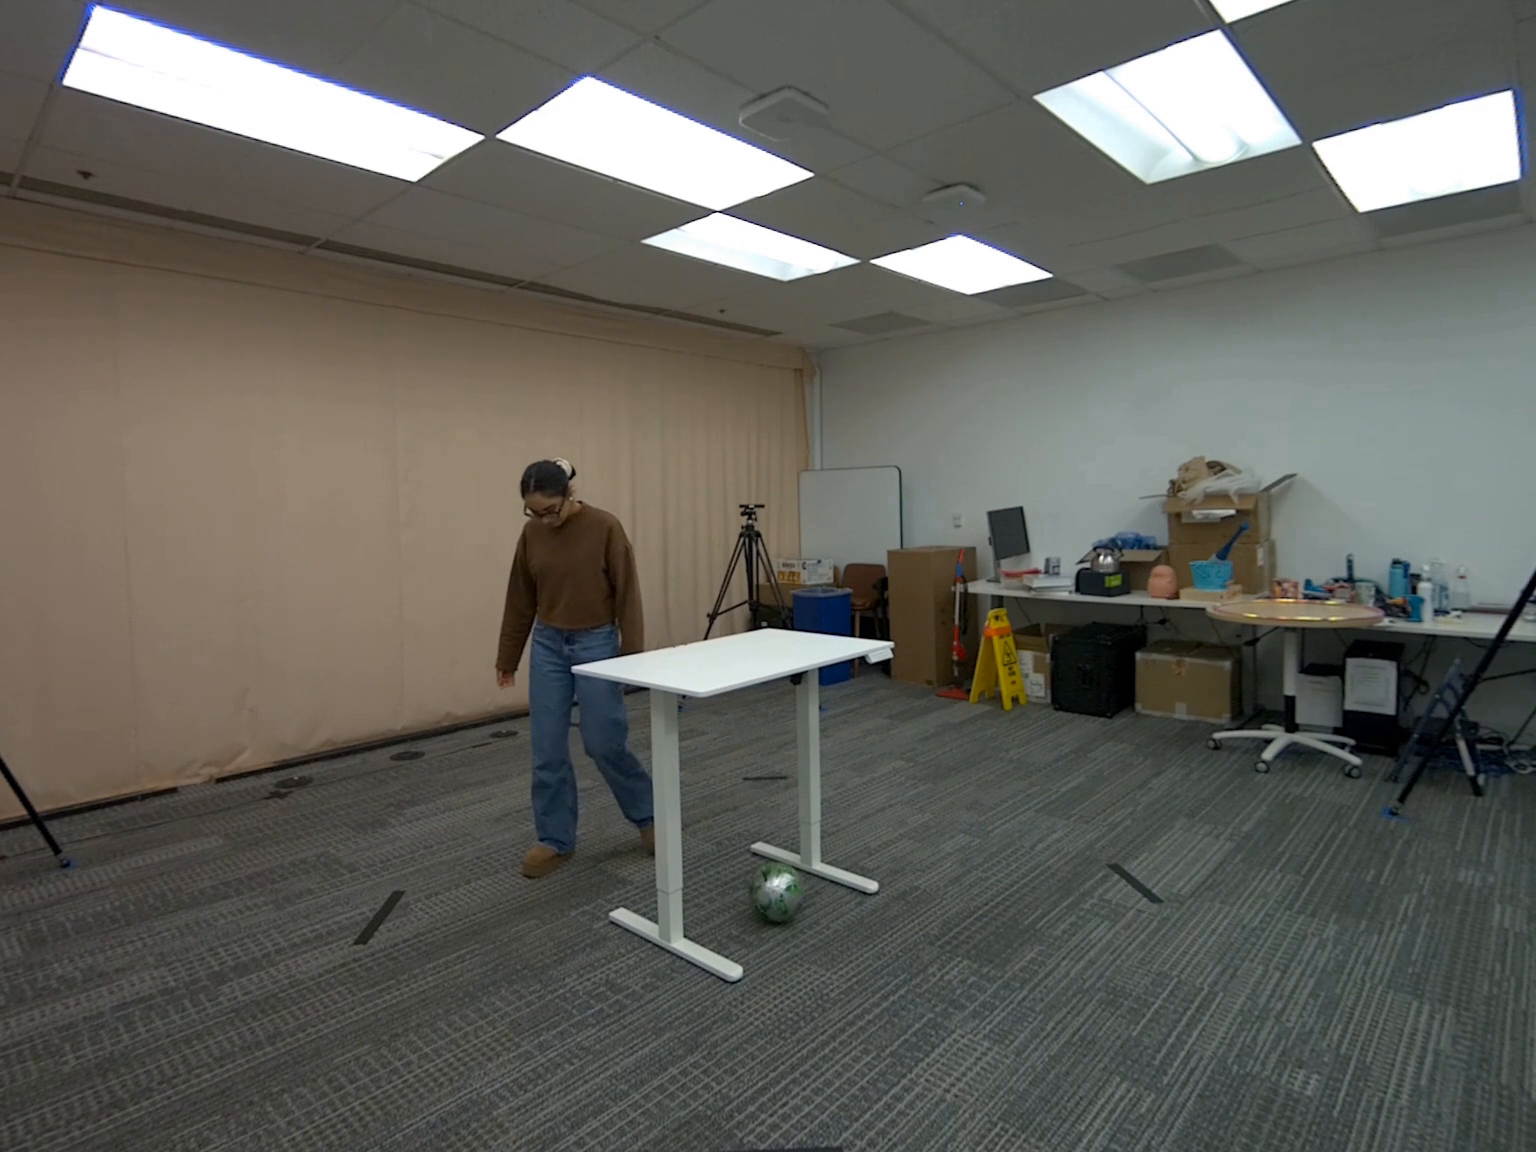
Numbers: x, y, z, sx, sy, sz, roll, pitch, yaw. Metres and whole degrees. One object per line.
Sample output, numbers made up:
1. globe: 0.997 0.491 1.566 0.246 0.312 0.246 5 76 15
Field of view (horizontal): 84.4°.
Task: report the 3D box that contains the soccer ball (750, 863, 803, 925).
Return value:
1. soccer ball: 0.033 1.056 2.818 0.187 0.187 0.188 -1 4 -2
